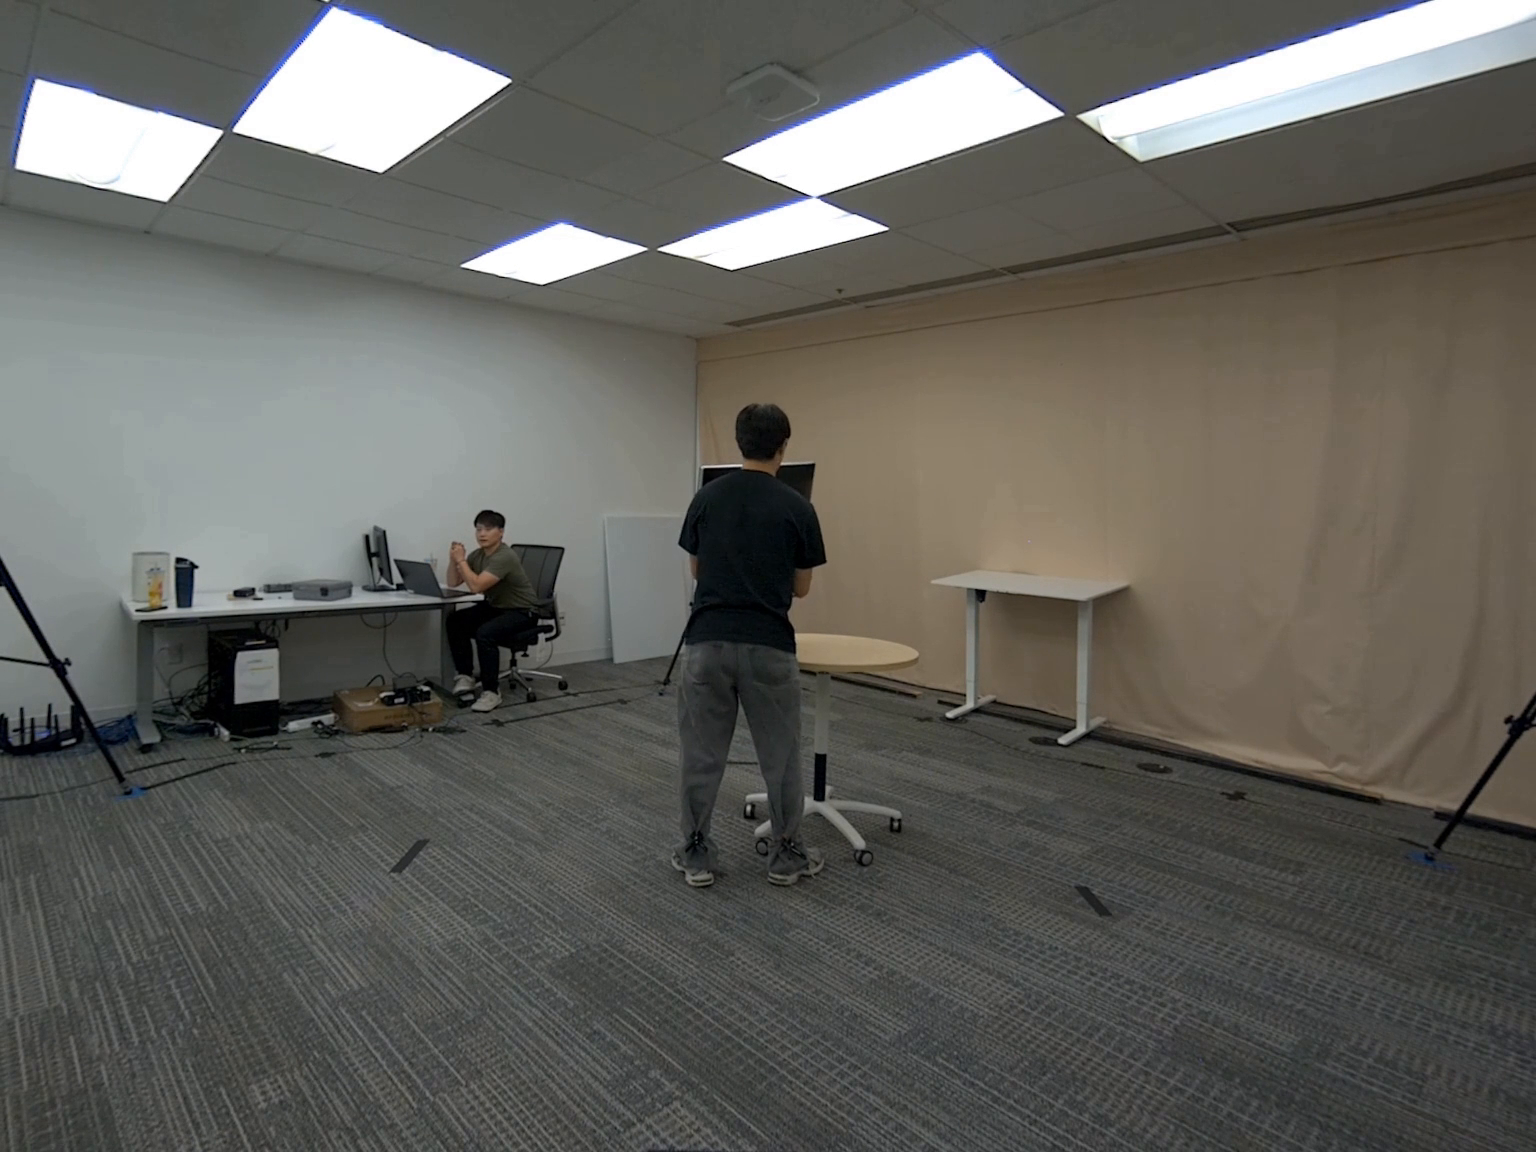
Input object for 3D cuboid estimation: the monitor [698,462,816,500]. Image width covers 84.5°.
[{"bbox_3d":[-0.029,-0.170,3.413,0.551,0.564,0.227,-5,6,-32],"label":"monitor"}]
